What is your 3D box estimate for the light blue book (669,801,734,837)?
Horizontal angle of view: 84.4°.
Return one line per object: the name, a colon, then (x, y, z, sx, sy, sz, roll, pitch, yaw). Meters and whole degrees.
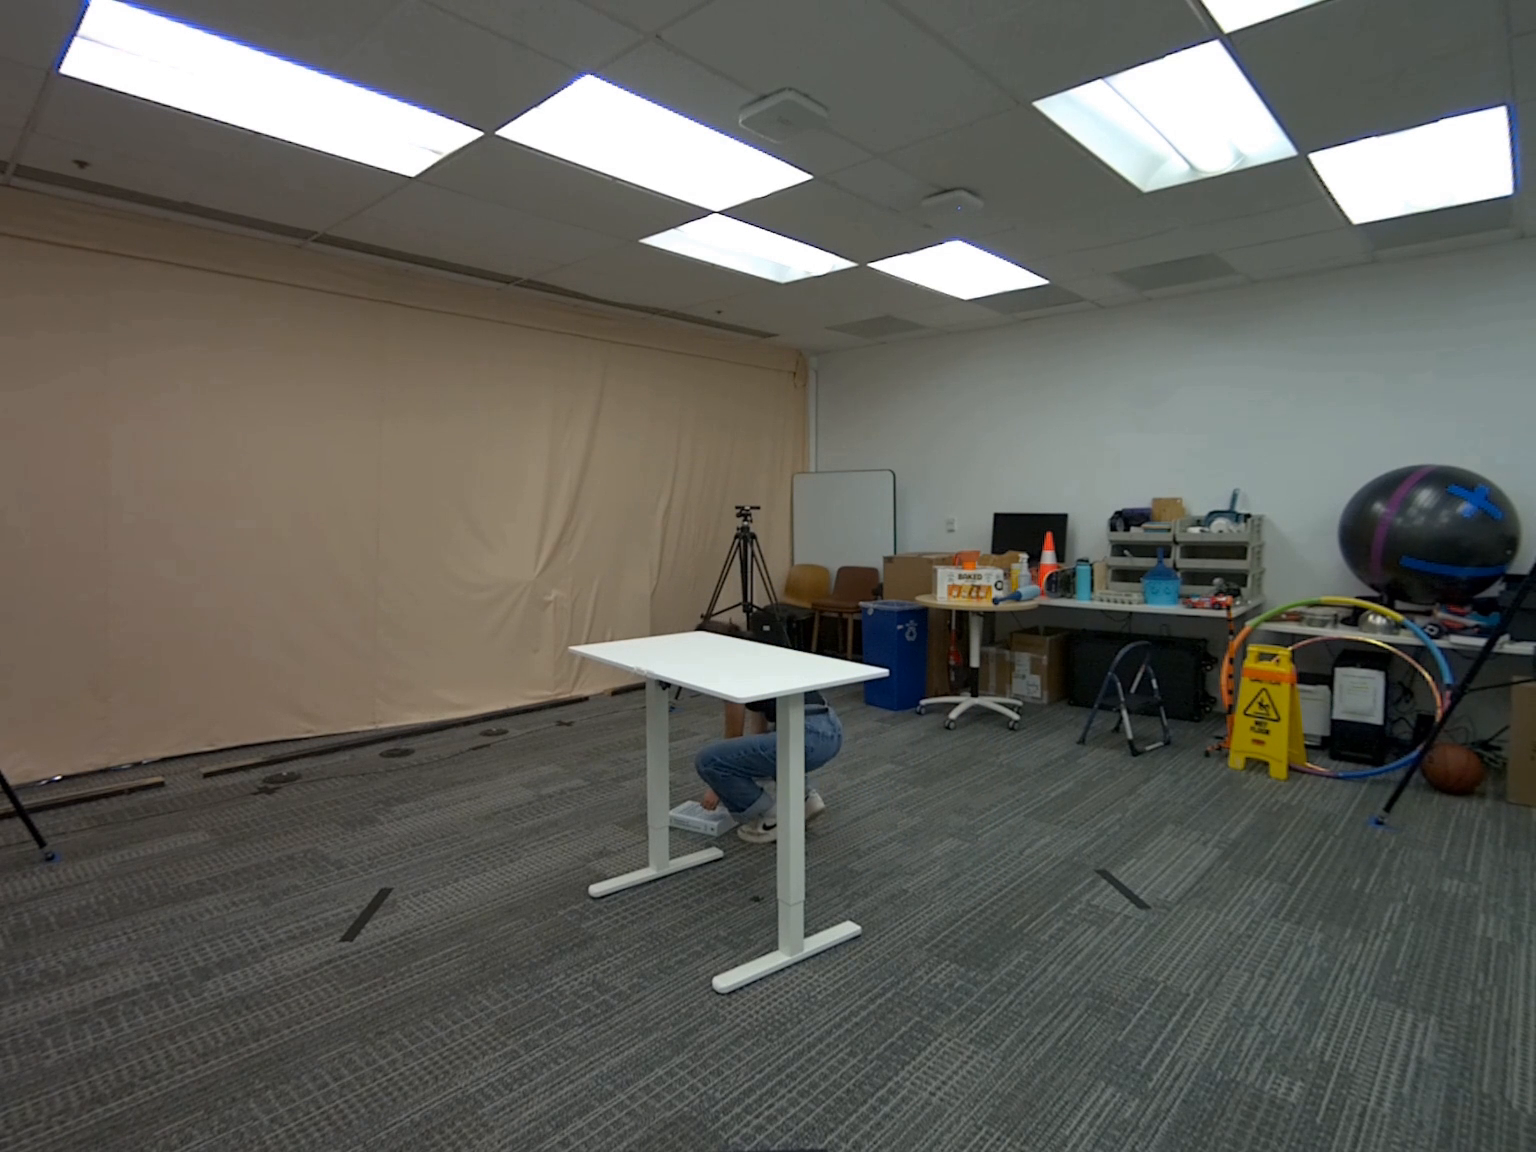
light blue book: (-0.285, 1.058, 3.684, 0.268, 0.059, 0.186, 2, 5, 30)
